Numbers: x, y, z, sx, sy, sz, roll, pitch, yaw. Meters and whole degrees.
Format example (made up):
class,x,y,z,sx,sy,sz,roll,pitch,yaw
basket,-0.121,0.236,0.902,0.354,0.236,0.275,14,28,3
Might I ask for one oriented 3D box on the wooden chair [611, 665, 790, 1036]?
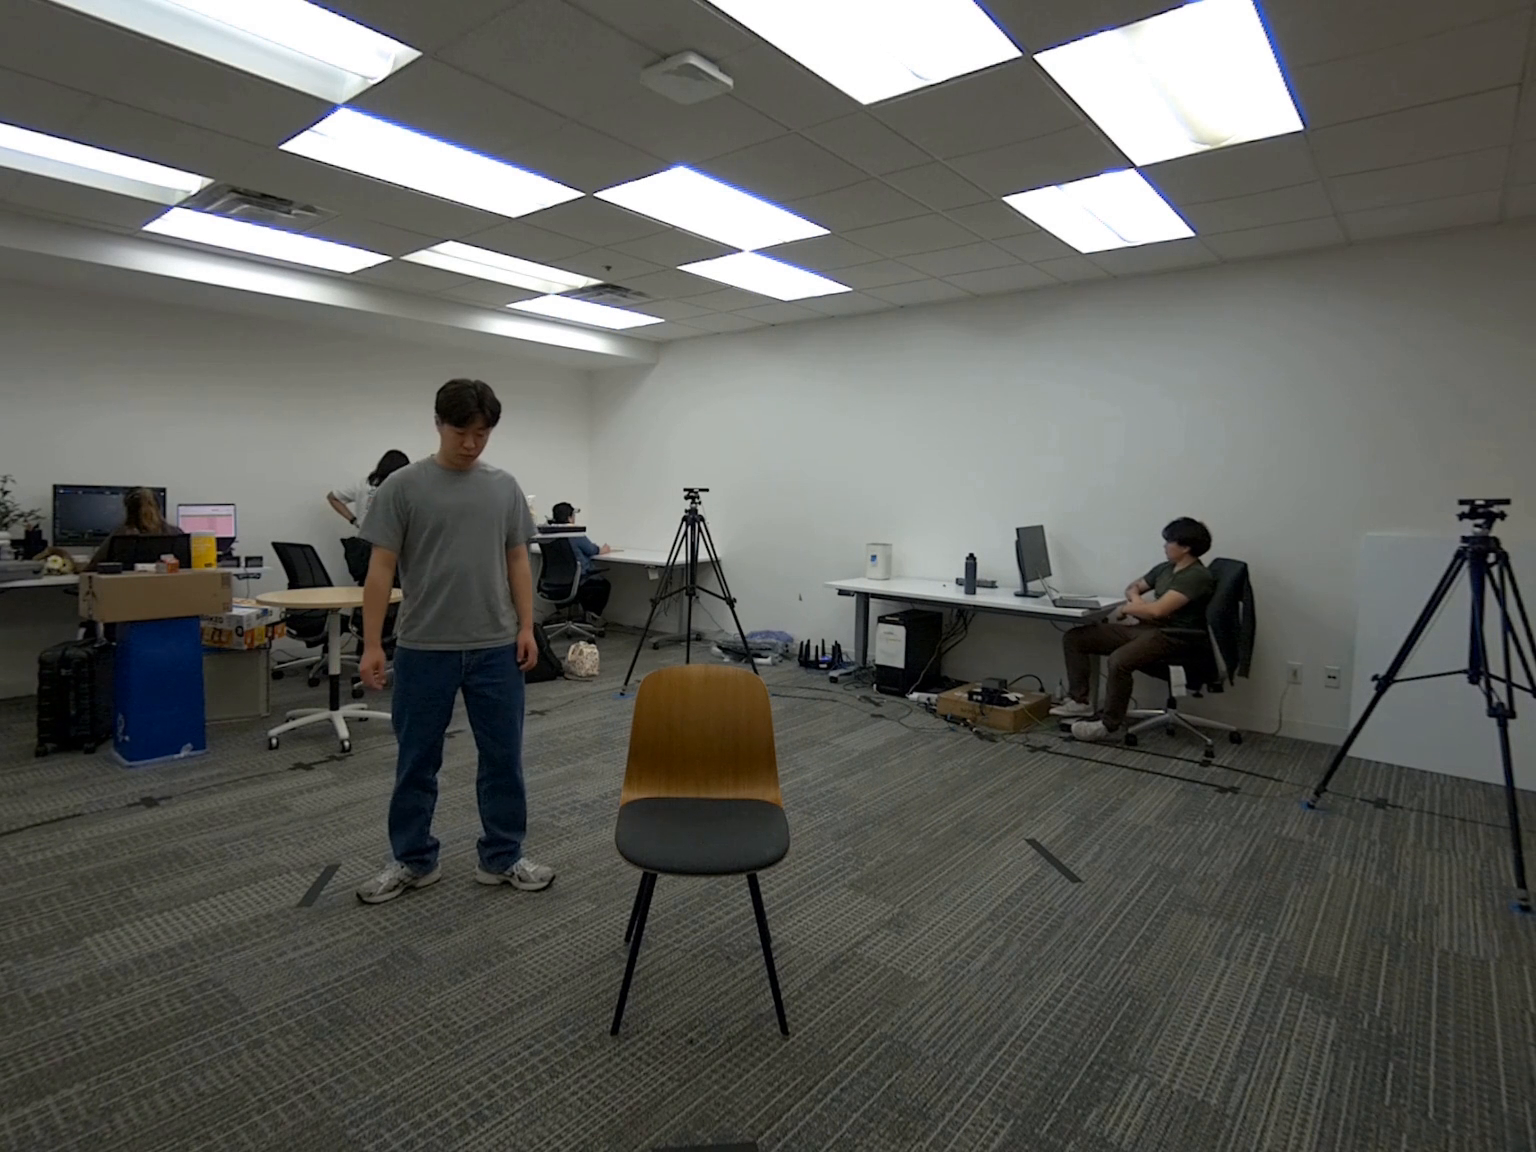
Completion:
class,x,y,z,sx,sy,sz,roll,pitch,yaw
wooden chair,-0.184,0.721,2.346,0.476,0.878,0.525,1,0,-5
